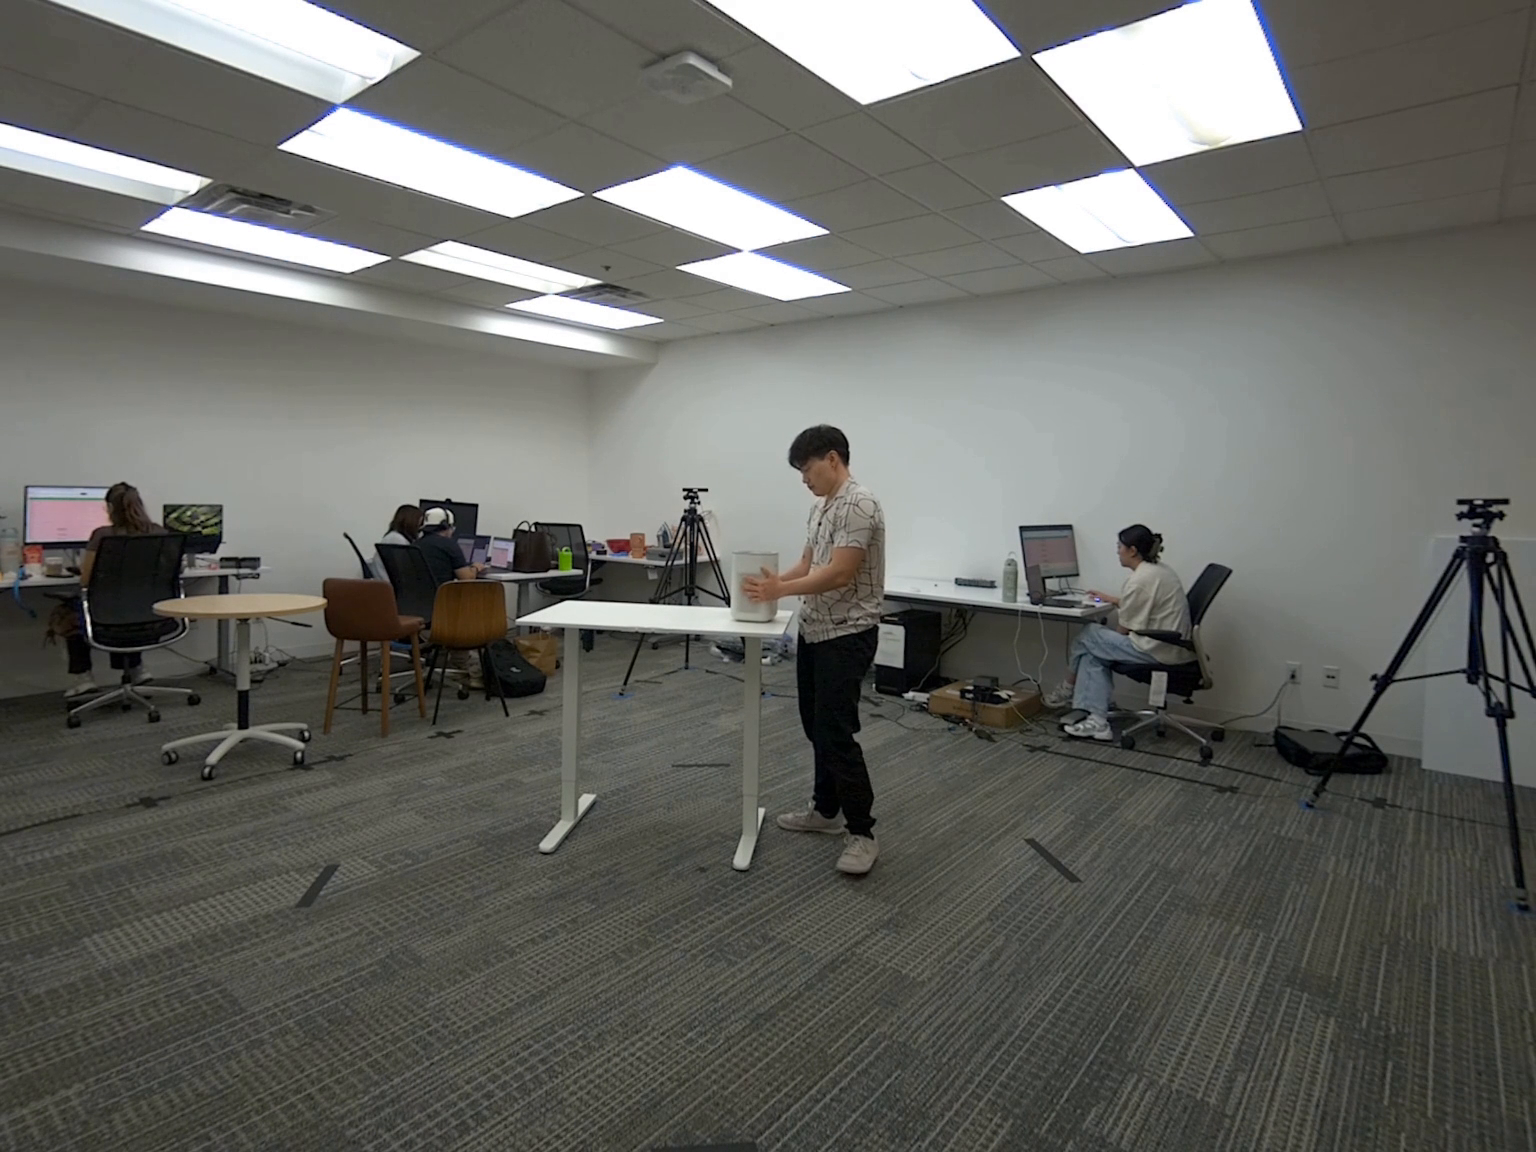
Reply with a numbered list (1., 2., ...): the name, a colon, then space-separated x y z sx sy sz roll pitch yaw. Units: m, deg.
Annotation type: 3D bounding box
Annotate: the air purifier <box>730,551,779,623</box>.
1. air purifier: -0.061 0.044 3.348 0.175 0.265 0.168 3 0 17
